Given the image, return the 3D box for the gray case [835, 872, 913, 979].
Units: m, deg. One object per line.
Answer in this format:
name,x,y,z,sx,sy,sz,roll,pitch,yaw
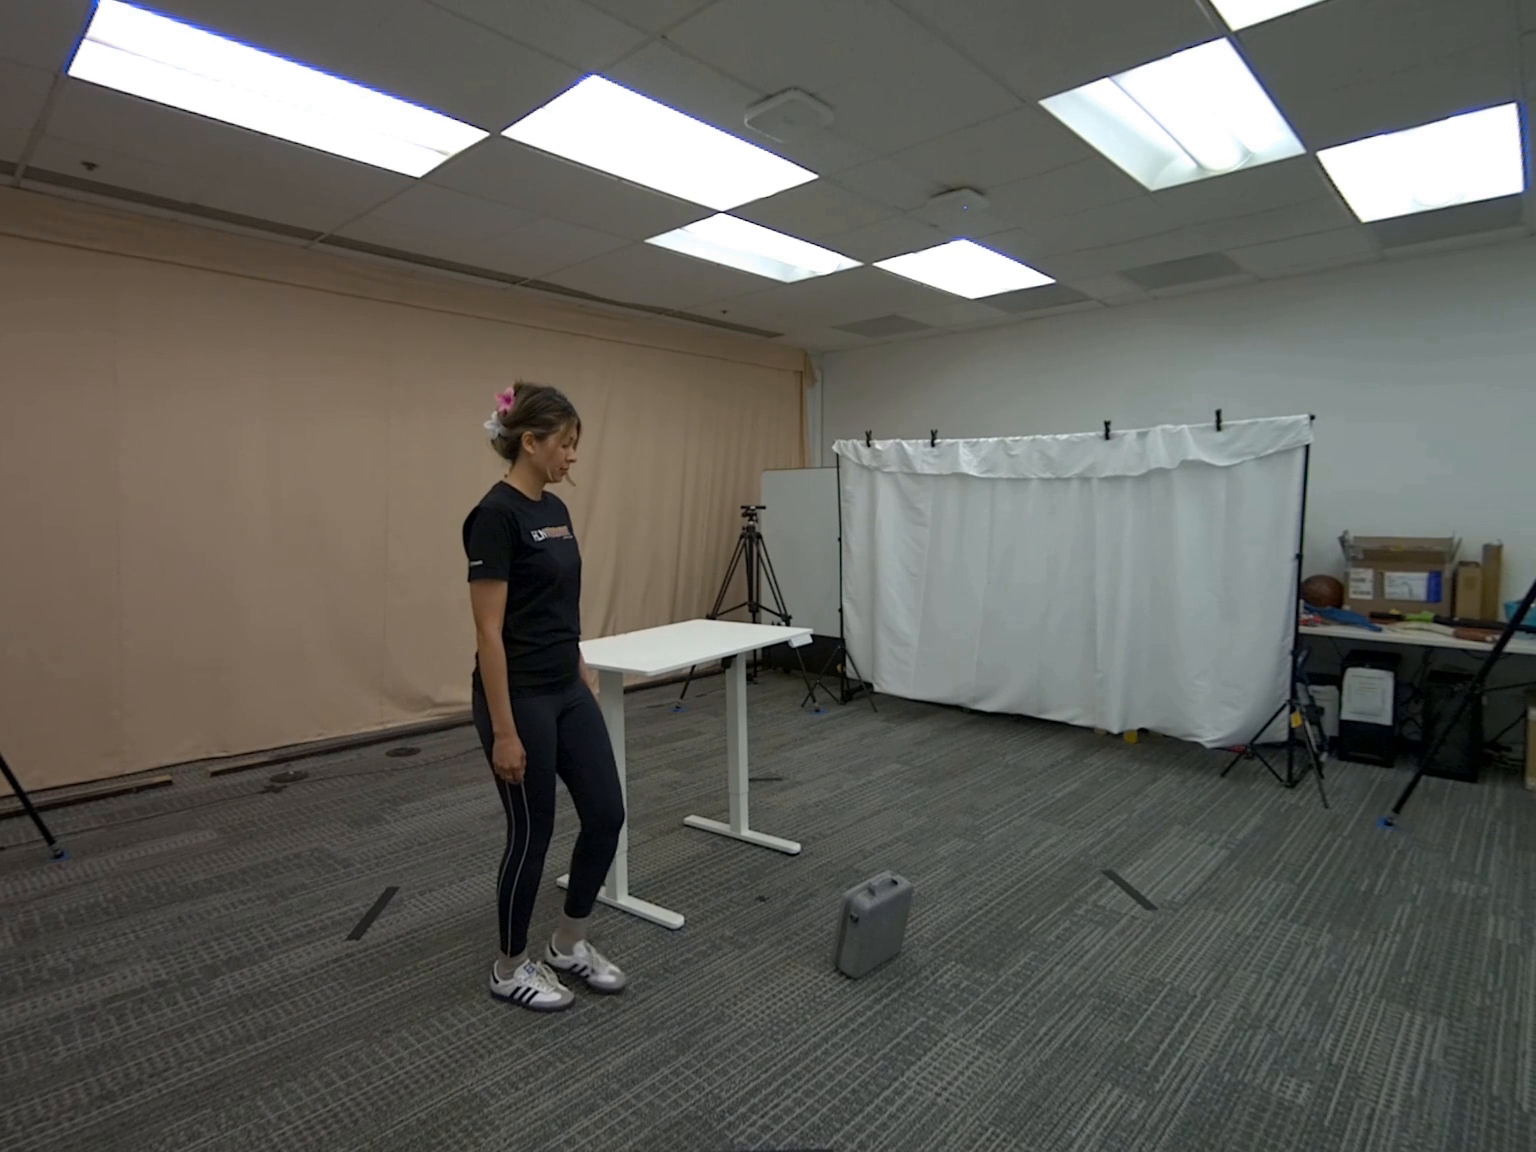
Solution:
gray case,0.324,1.049,2.547,0.249,0.259,0.108,-4,15,-43
